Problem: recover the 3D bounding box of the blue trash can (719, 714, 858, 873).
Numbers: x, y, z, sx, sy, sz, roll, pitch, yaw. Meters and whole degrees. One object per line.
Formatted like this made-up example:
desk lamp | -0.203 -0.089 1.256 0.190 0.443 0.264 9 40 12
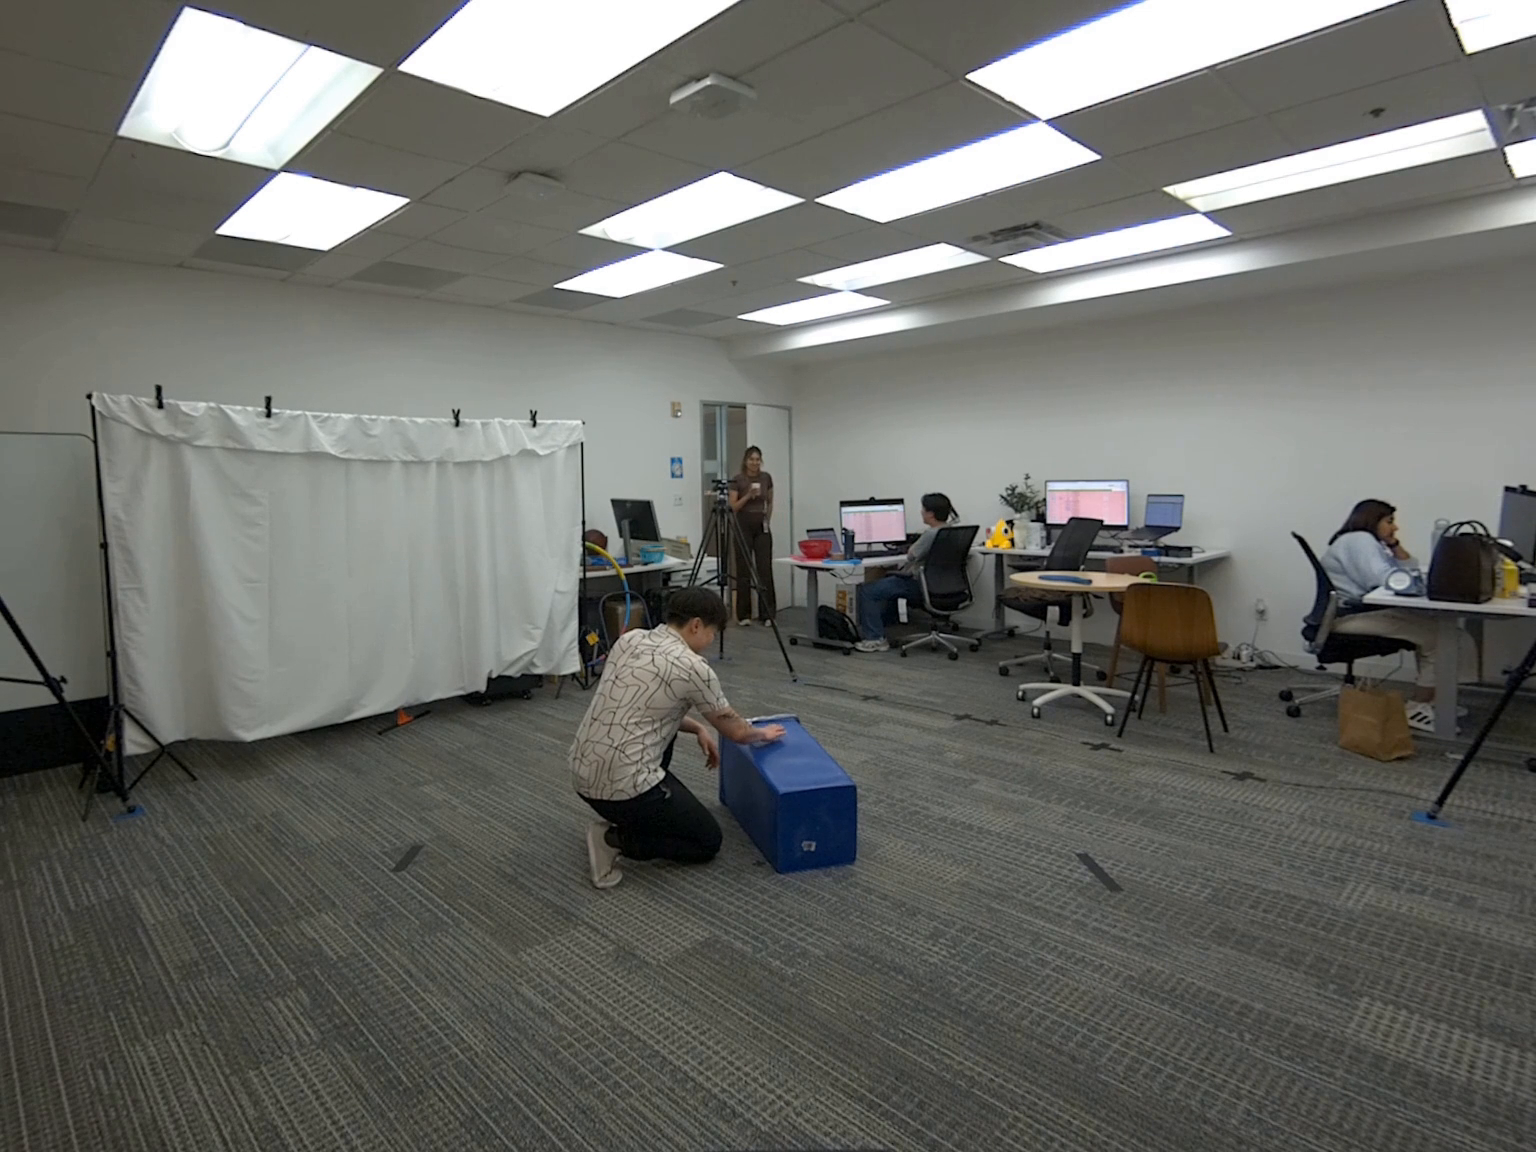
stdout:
blue trash can | 0.063 0.846 3.380 0.373 0.371 0.729 -3 9 -16
